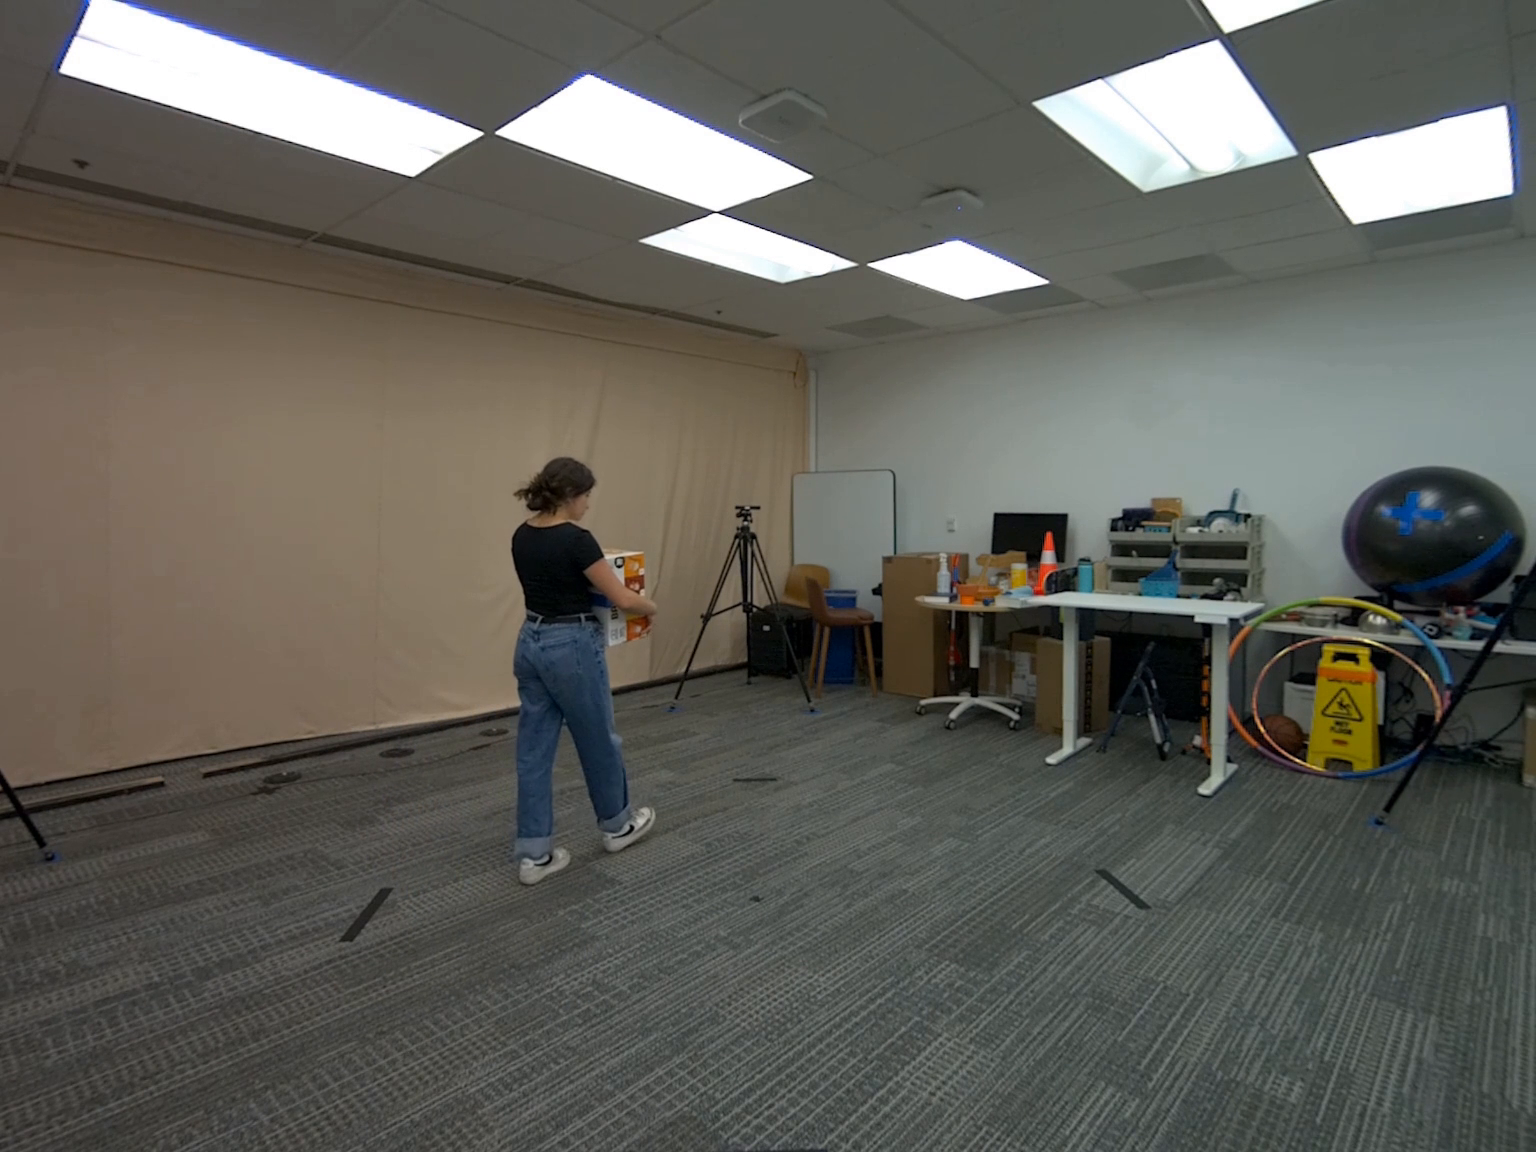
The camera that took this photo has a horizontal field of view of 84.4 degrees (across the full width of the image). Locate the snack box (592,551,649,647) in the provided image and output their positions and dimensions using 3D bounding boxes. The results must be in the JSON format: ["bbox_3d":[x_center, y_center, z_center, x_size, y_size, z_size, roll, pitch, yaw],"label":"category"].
[{"bbox_3d":[-0.703,0.067,3.377,0.418,0.339,0.200,6,10,38],"label":"snack box"}]
